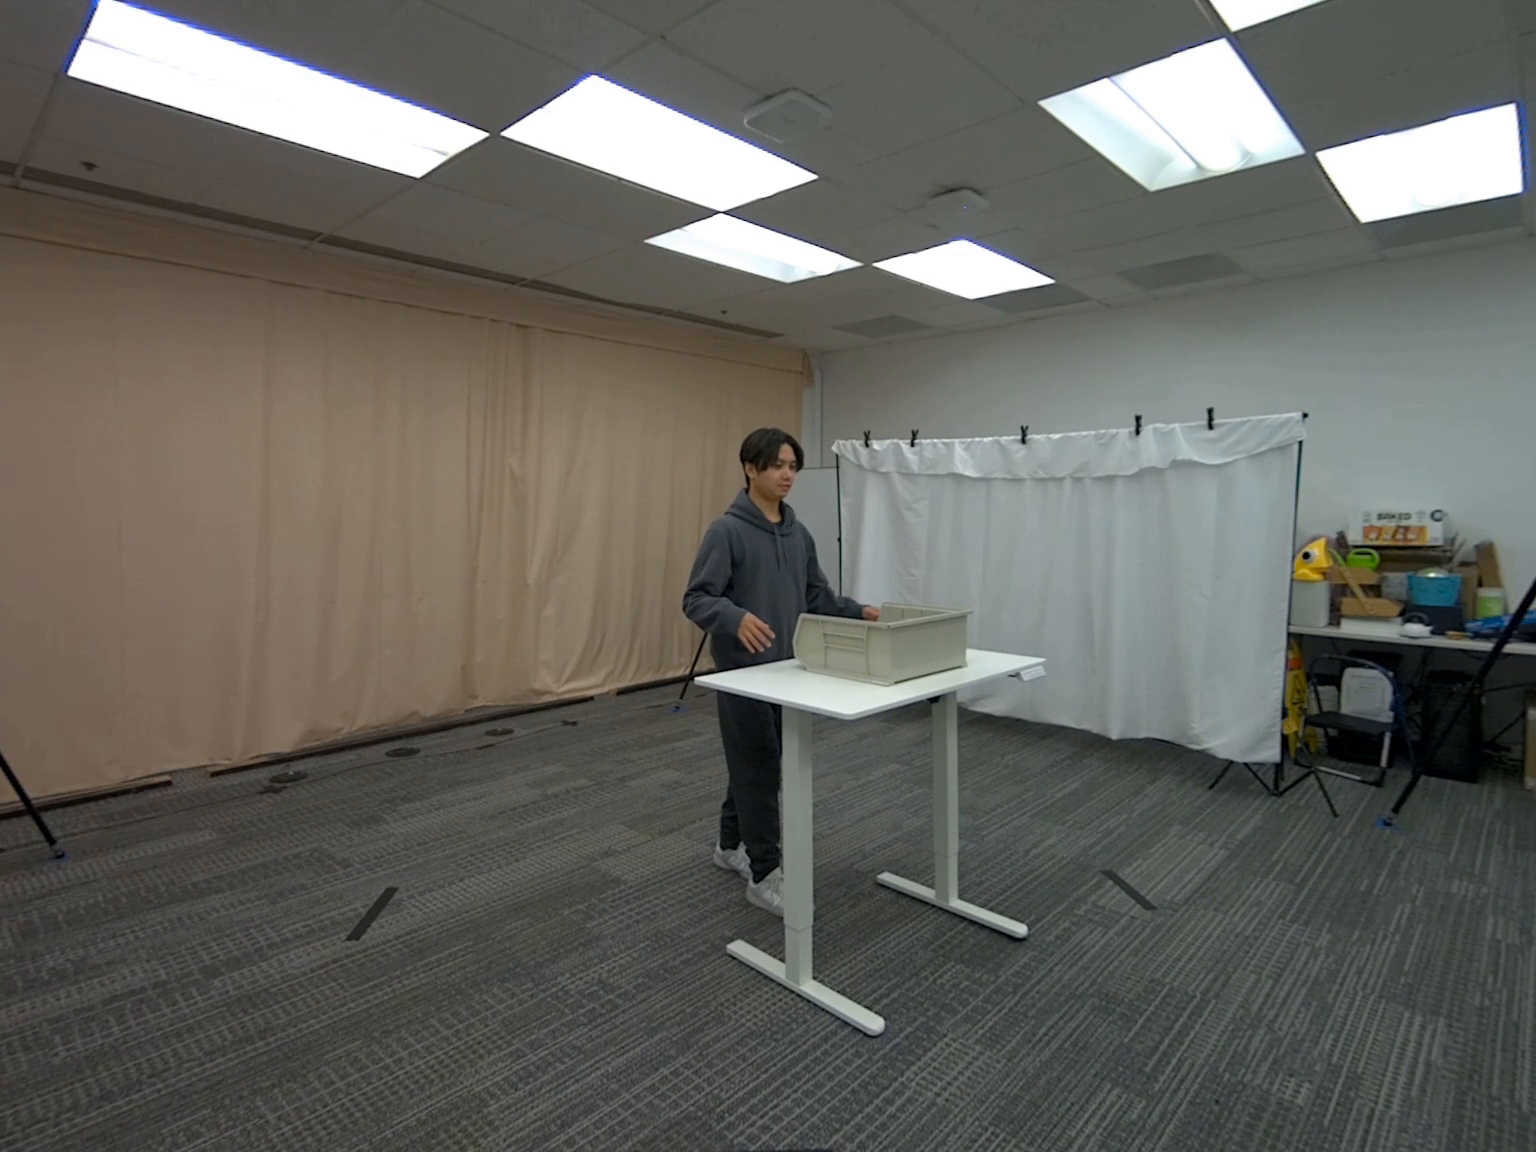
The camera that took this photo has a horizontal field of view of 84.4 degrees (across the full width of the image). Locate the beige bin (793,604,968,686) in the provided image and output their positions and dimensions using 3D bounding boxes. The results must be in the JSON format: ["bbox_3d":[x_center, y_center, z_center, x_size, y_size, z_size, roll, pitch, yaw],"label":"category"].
[{"bbox_3d":[0.359,0.203,2.628,0.409,0.188,0.390,-4,6,-43],"label":"beige bin"}]
